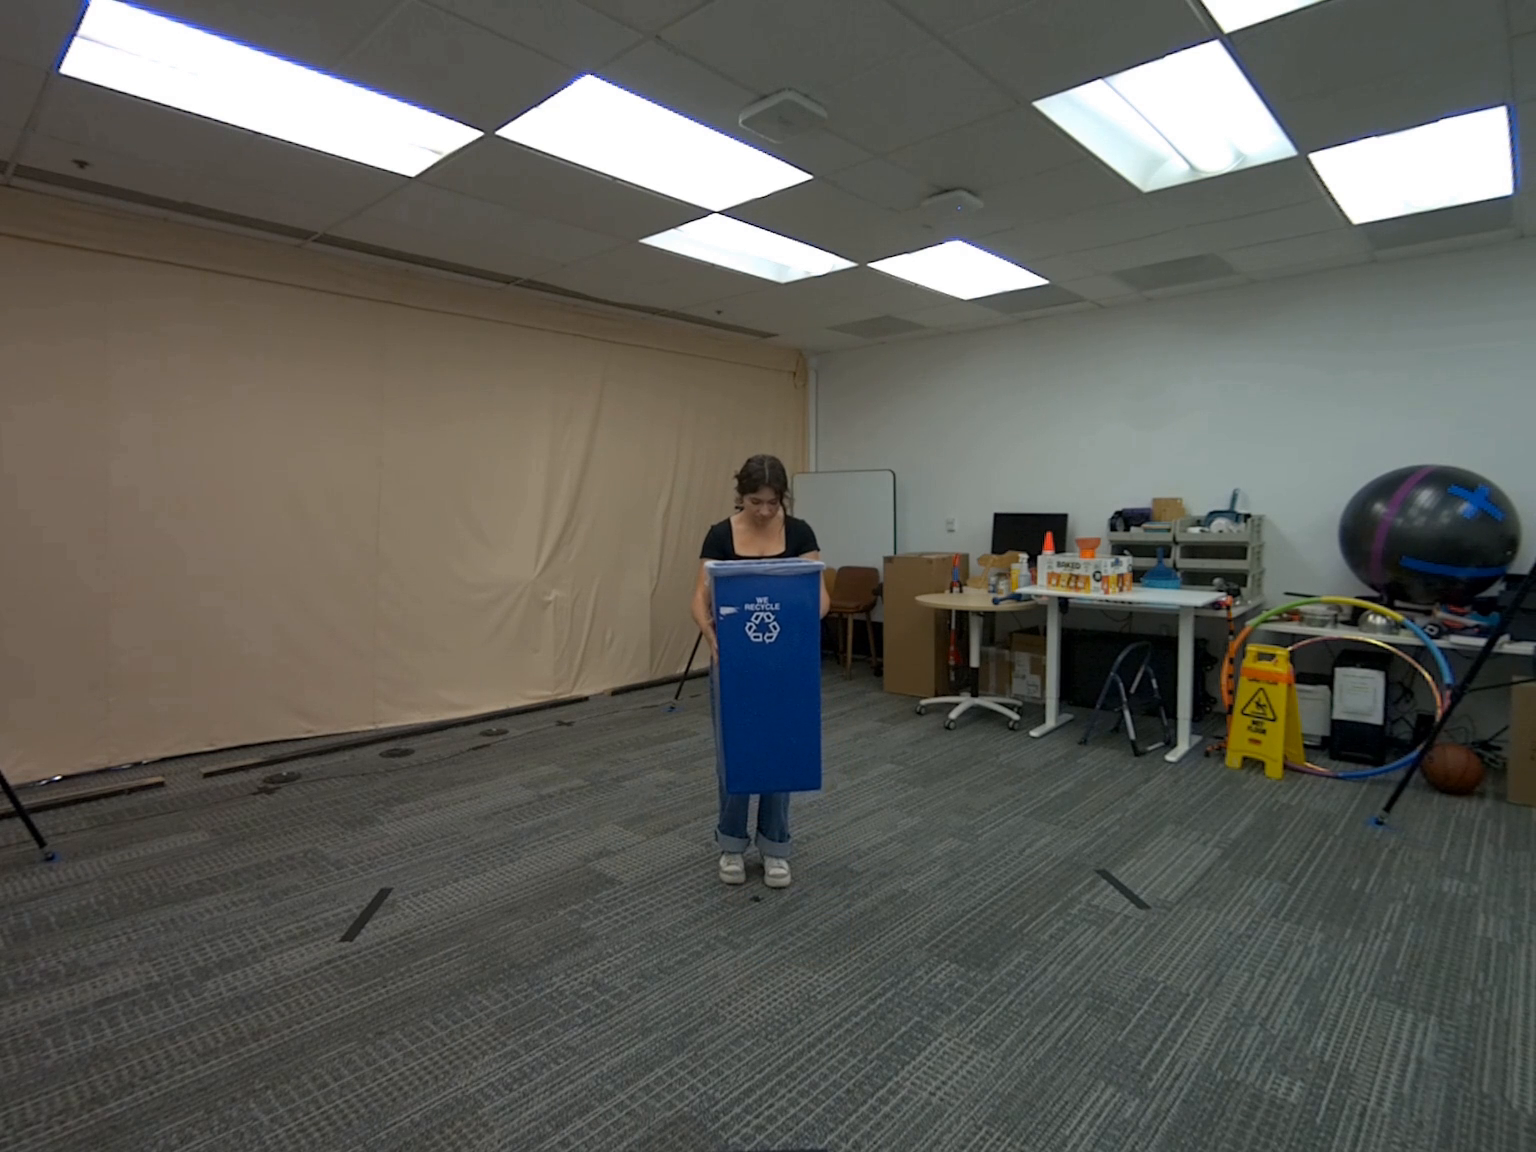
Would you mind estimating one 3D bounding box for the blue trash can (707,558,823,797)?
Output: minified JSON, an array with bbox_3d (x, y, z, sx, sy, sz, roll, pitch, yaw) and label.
[{"bbox_3d":[0.001,0.314,2.761,0.373,0.713,0.380,-3,2,-4],"label":"blue trash can"}]
